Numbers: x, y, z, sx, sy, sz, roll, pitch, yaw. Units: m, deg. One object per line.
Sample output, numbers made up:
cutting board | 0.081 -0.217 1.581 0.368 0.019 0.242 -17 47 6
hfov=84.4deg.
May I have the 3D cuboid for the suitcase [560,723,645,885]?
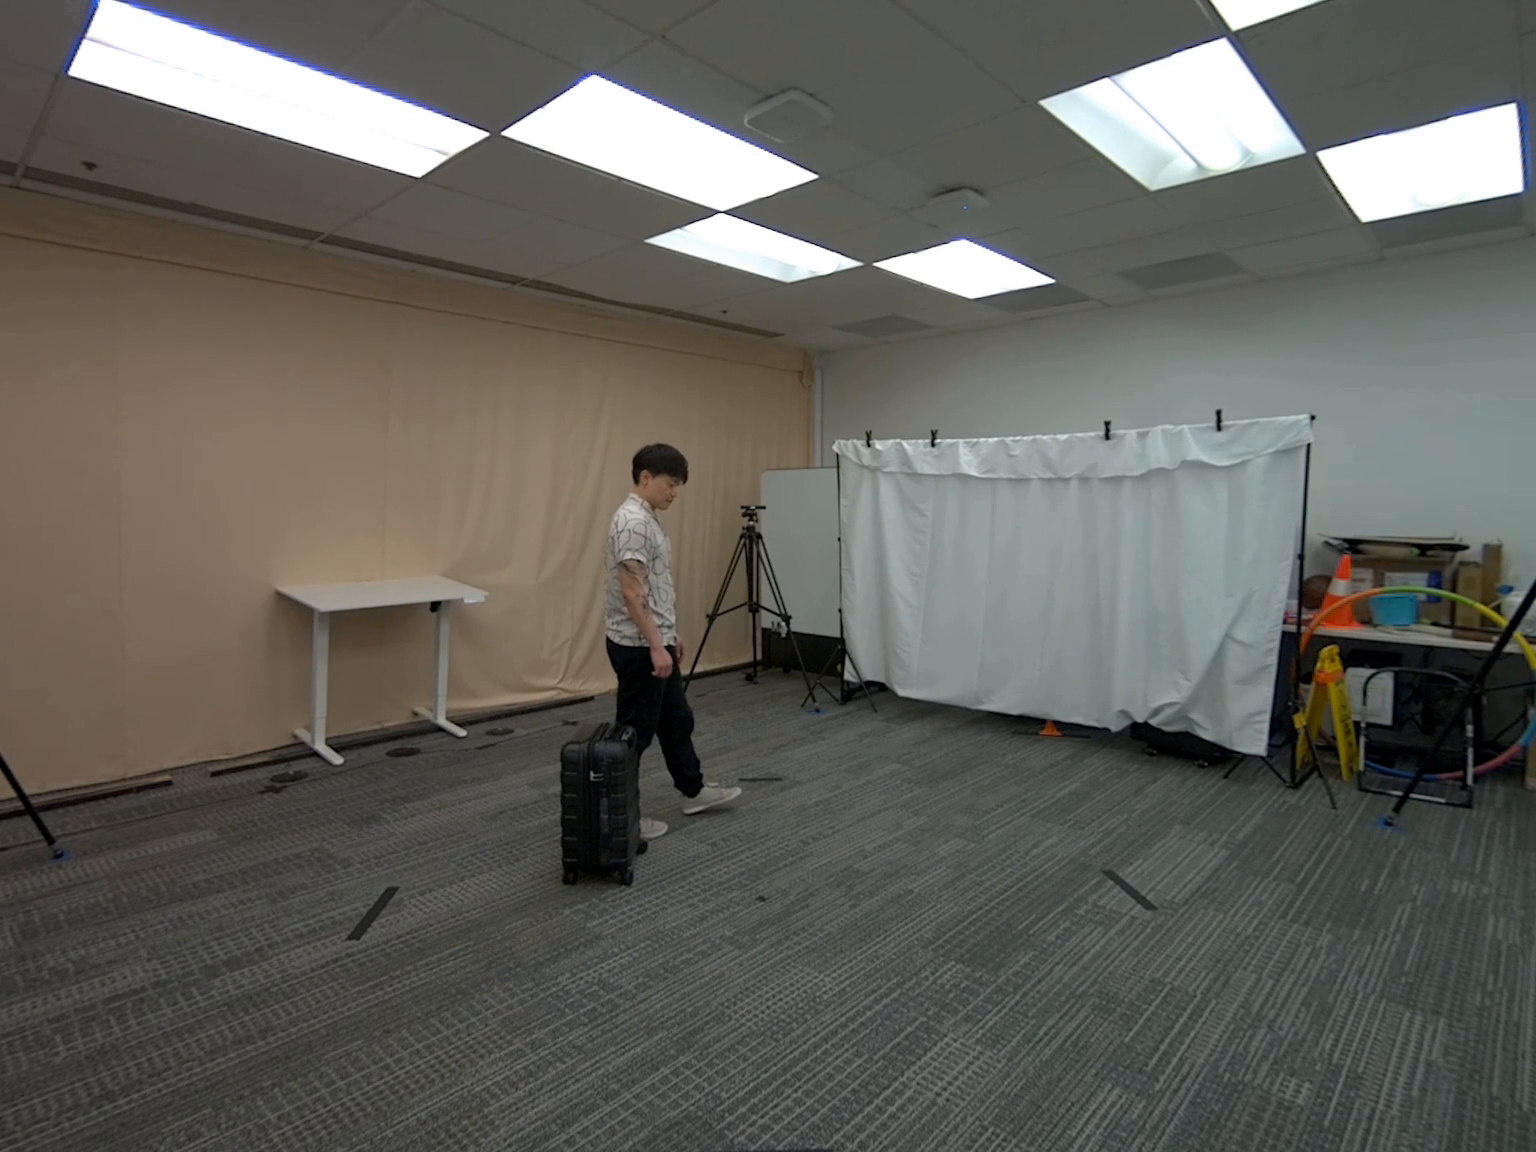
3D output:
suitcase | -0.640 0.854 3.224 0.249 0.548 0.375 -1 5 3
